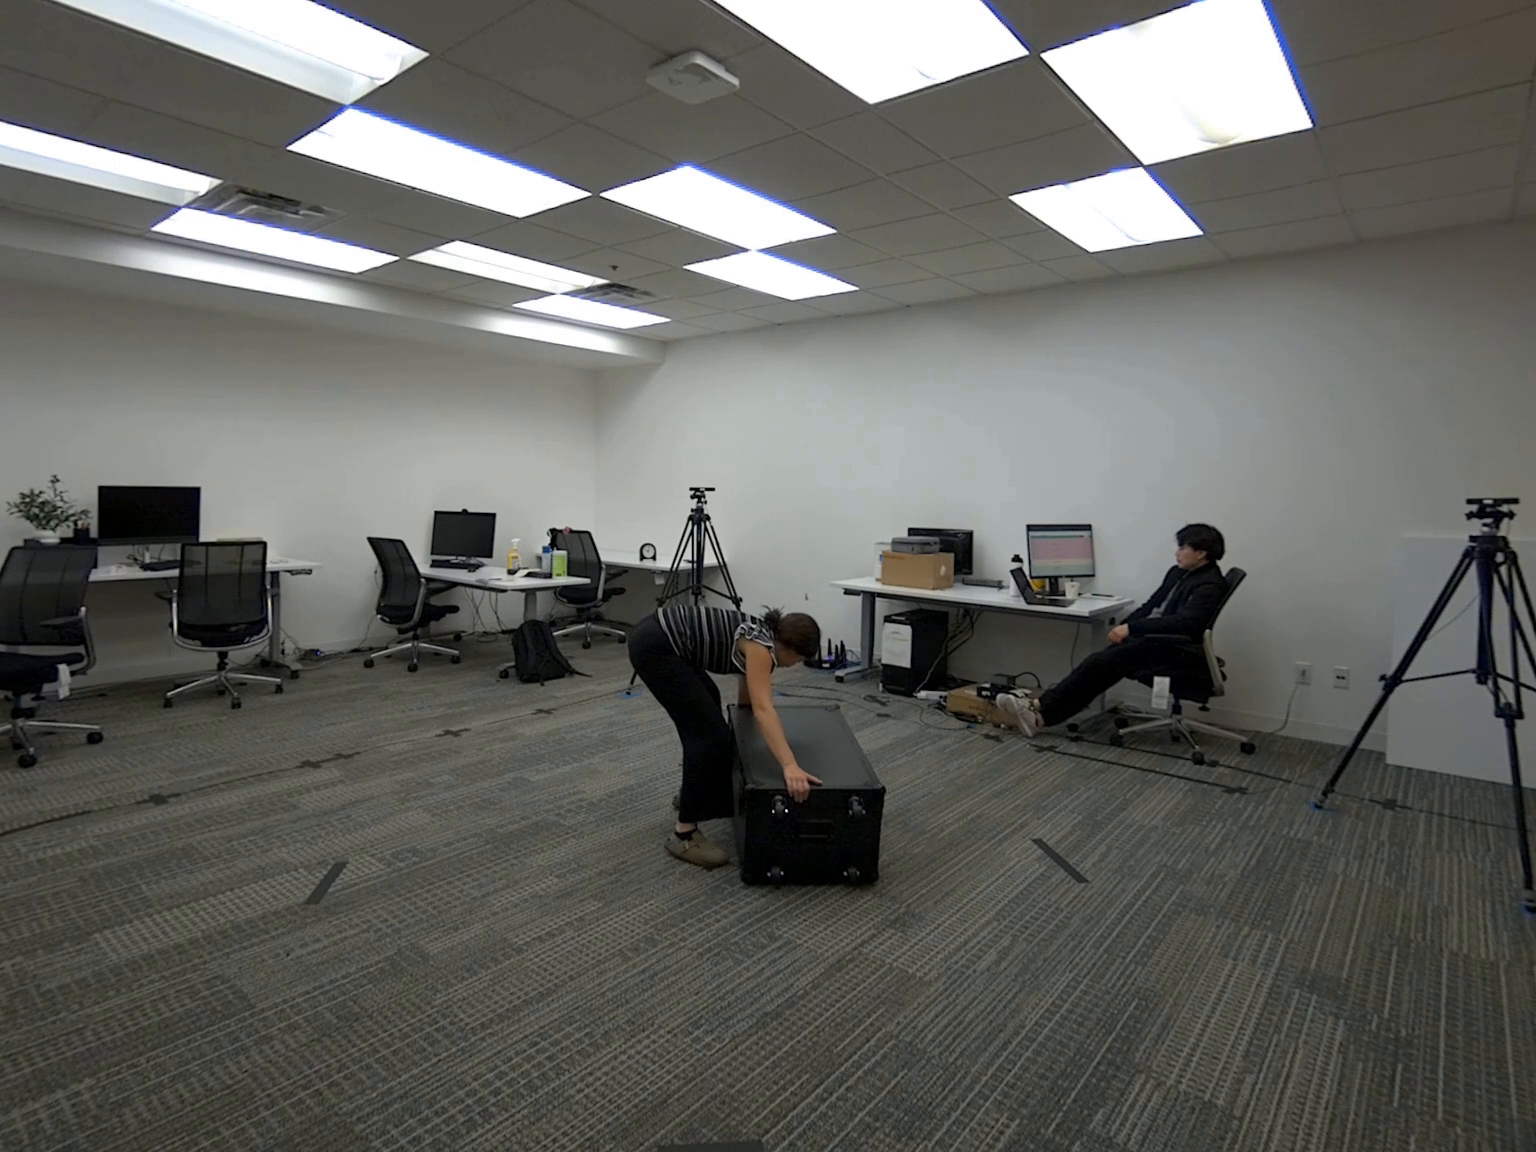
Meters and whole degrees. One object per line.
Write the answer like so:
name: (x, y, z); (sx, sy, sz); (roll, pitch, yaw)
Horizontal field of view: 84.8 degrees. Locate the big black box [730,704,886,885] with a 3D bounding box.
big black box: (0.104, 0.829, 3.300); (0.517, 0.392, 0.876); (1, 11, -8)
